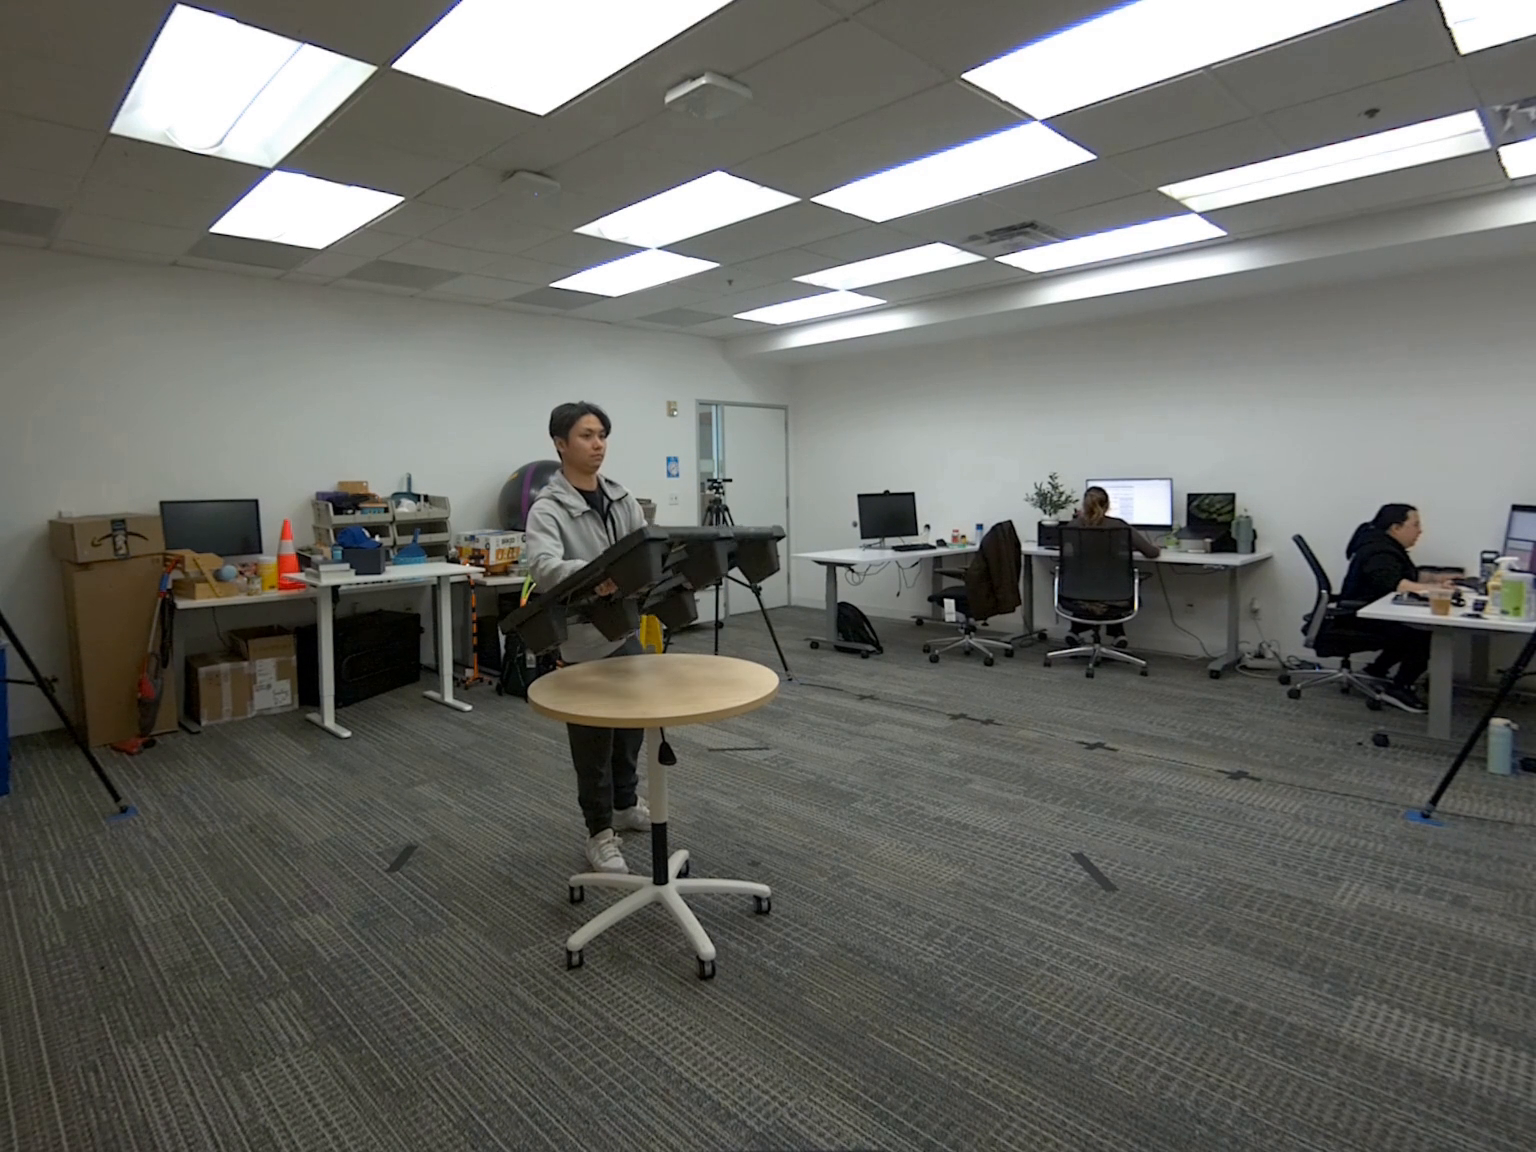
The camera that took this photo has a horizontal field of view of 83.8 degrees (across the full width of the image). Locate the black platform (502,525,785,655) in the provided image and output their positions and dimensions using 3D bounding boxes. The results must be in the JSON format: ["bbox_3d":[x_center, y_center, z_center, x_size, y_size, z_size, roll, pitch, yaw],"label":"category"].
[{"bbox_3d":[-0.337,0.048,2.639,0.610,0.146,0.786,-31,-13,27],"label":"black platform"}]
